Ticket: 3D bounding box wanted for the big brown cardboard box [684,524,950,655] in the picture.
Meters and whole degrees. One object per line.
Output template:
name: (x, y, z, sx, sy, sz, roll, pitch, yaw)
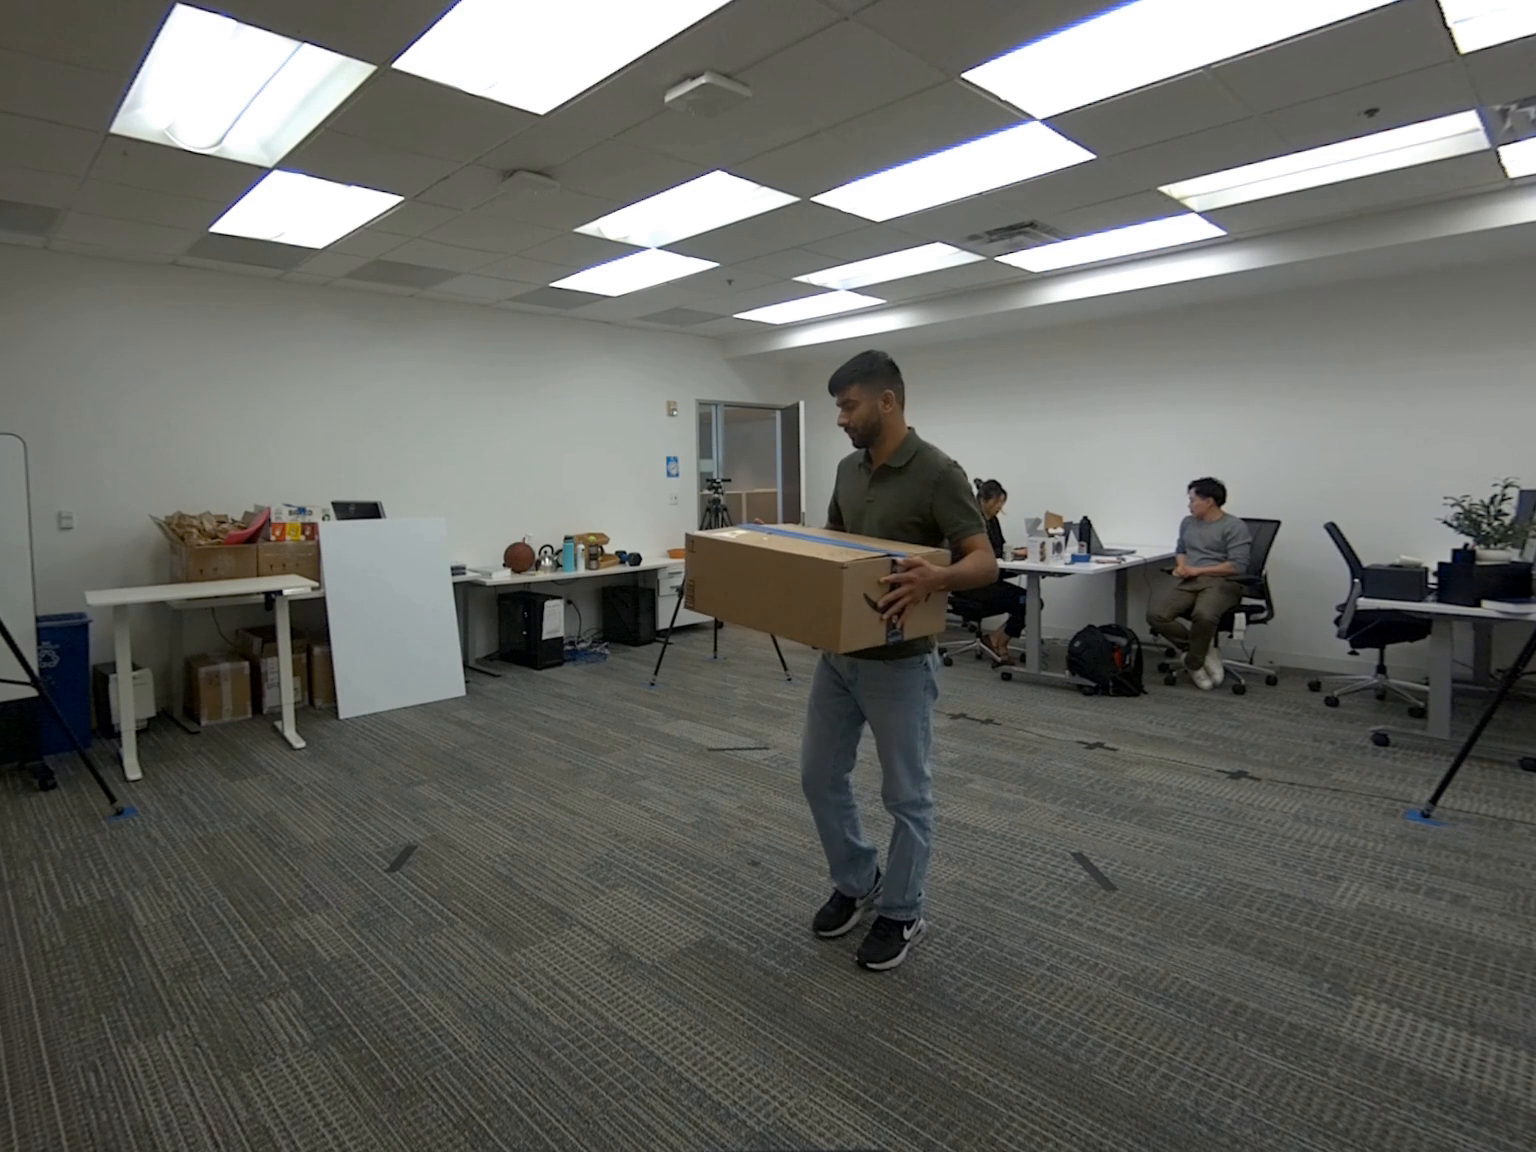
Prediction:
big brown cardboard box: (0.113, 0.010, 2.270, 0.406, 0.231, 0.609, -6, 14, -43)
